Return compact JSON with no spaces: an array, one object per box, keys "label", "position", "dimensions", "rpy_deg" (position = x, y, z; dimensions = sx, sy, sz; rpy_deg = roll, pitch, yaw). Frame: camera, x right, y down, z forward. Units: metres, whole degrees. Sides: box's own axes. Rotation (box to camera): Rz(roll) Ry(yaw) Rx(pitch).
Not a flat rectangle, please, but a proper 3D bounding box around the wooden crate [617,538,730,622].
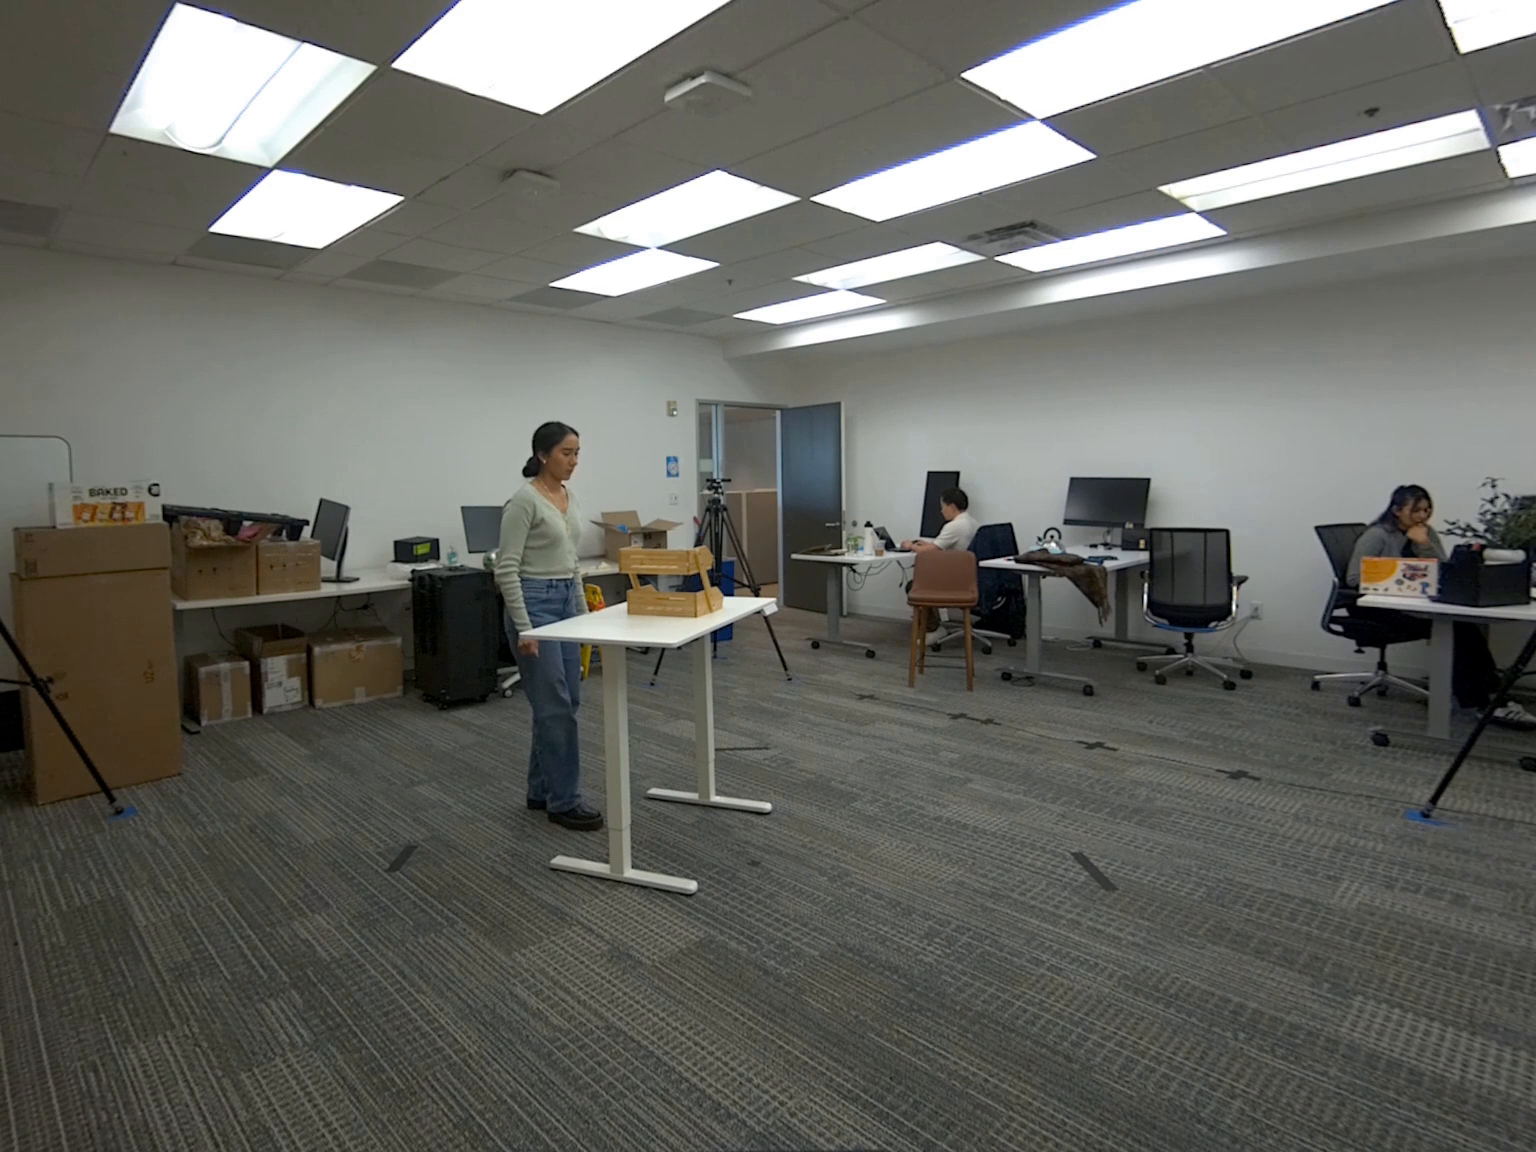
[{"label":"wooden crate","position":[-0.364,0.004,3.332],"dimensions":[0.331,0.272,0.298],"rpy_deg":[1,7,21]}]
